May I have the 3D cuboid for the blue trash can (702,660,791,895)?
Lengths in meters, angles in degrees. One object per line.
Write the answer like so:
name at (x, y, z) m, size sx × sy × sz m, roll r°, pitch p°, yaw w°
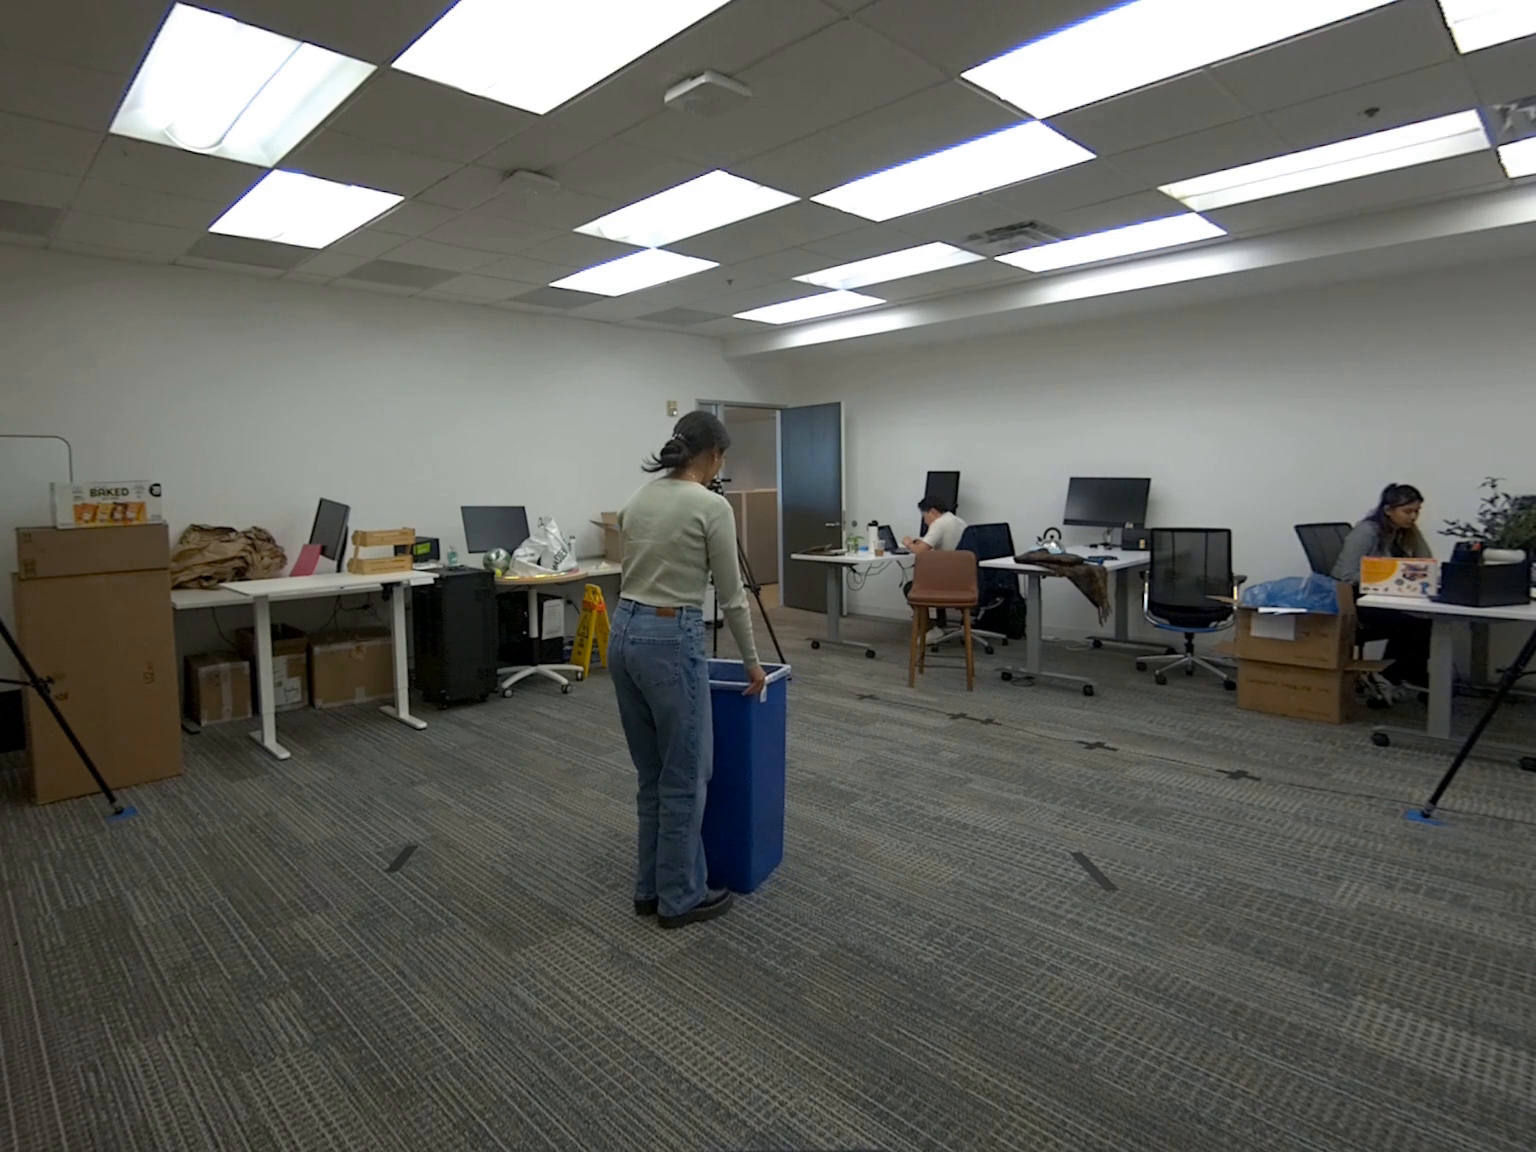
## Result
blue trash can at (-0.143, 0.690, 3.053) m, size 0.383 × 0.711 × 0.370 m, roll 2°, pitch 4°, yaw 24°
